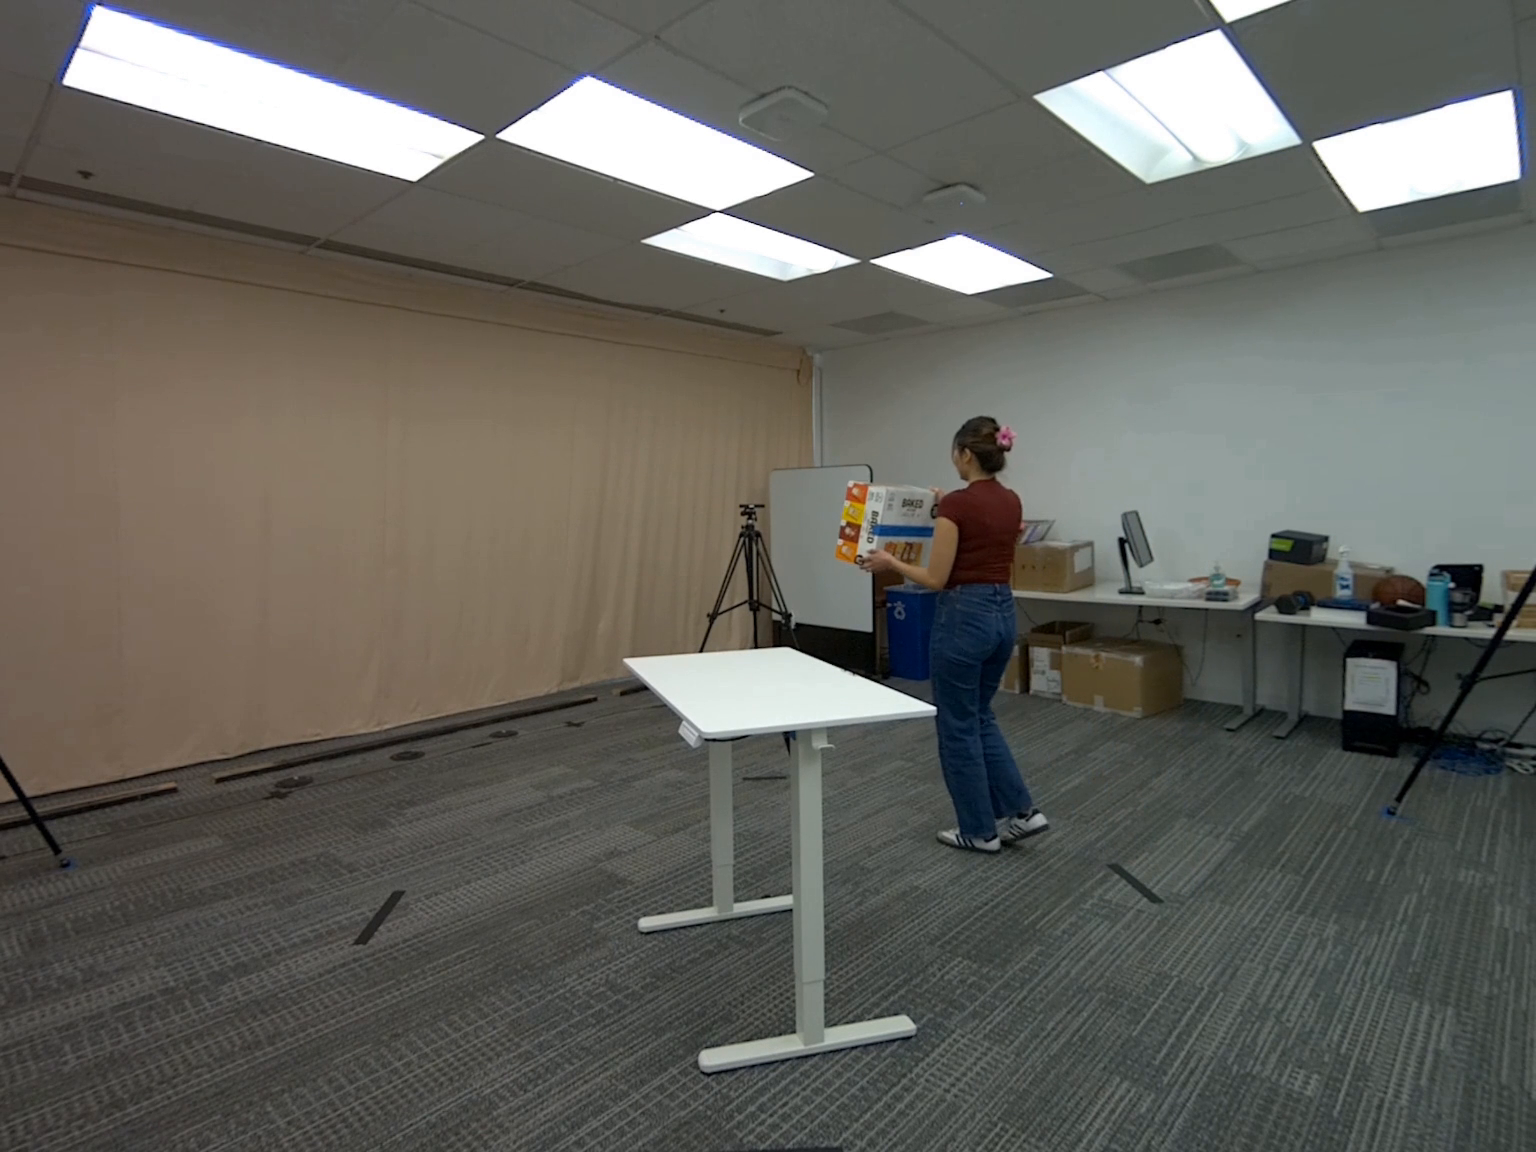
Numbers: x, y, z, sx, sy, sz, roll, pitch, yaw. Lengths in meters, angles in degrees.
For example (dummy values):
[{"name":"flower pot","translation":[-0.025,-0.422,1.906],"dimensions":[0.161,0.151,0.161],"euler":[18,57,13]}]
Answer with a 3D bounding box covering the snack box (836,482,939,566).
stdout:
[{"name":"snack box","translation":[0.530,-0.218,3.648],"dimensions":[0.392,0.339,0.213],"euler":[-1,14,-44]}]
